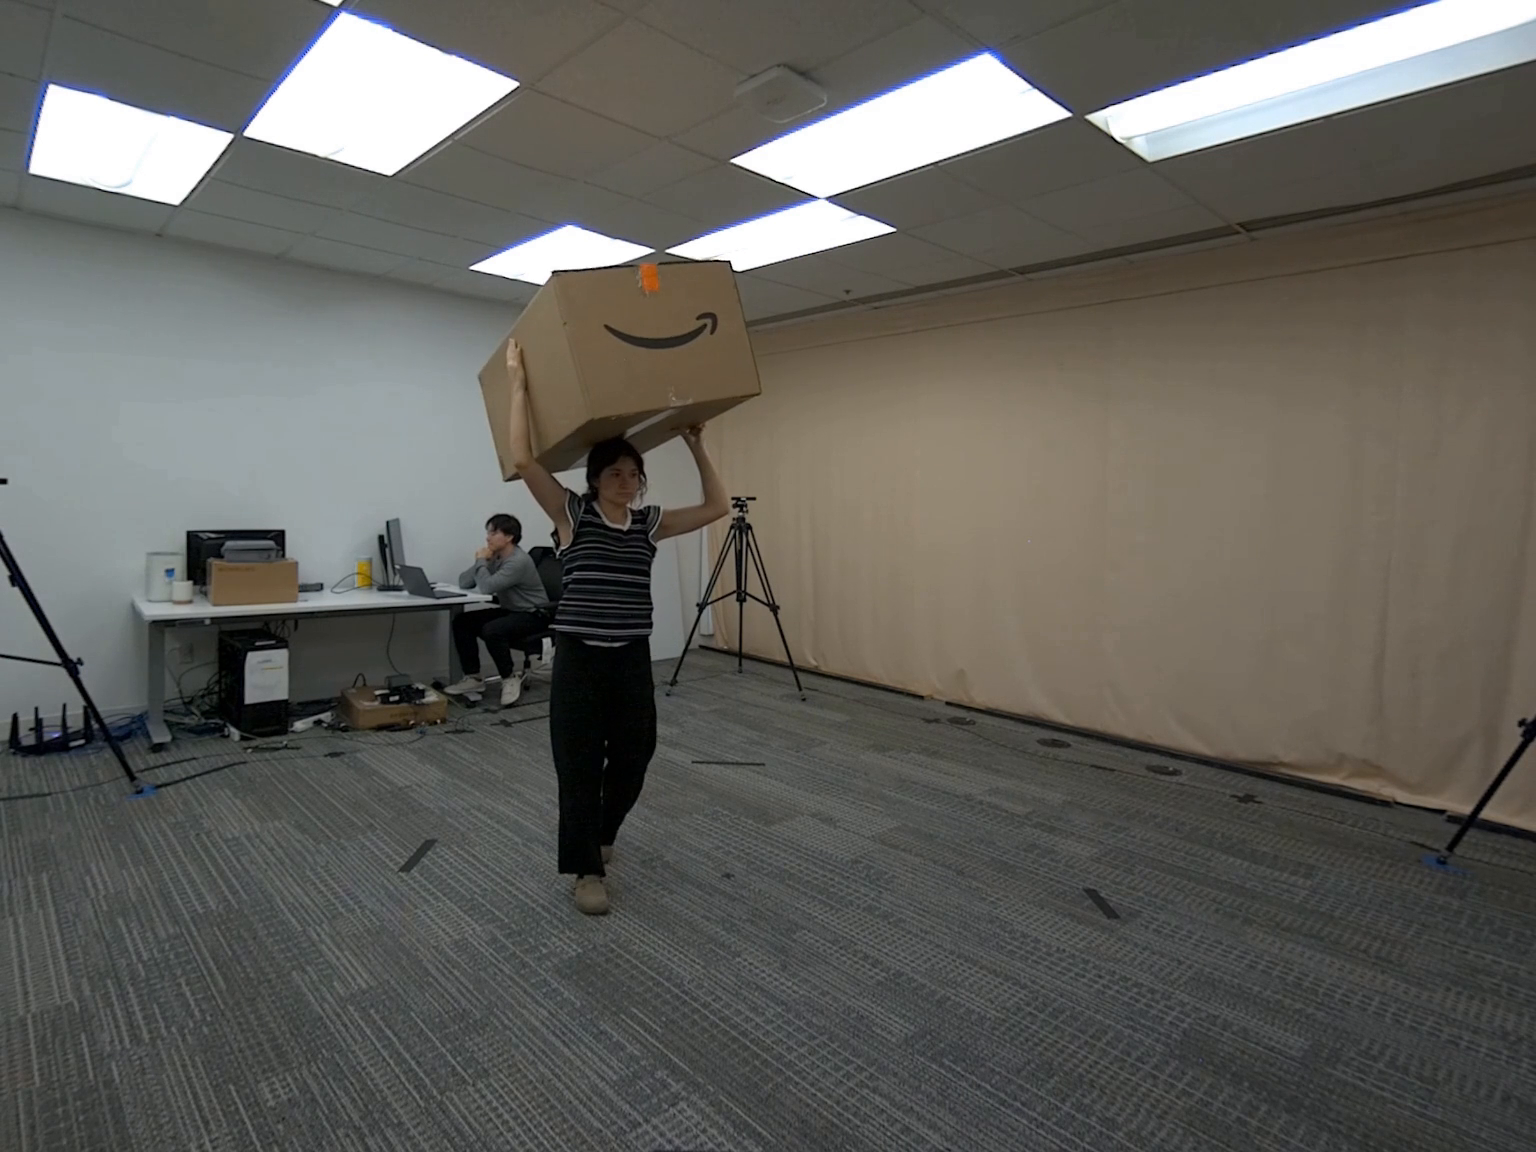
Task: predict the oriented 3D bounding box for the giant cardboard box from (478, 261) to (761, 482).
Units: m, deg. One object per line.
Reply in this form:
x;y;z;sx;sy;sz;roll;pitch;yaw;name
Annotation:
-0.559;-0.660;2.878;0.569;0.425;1.043;-15;3;-30;giant cardboard box
